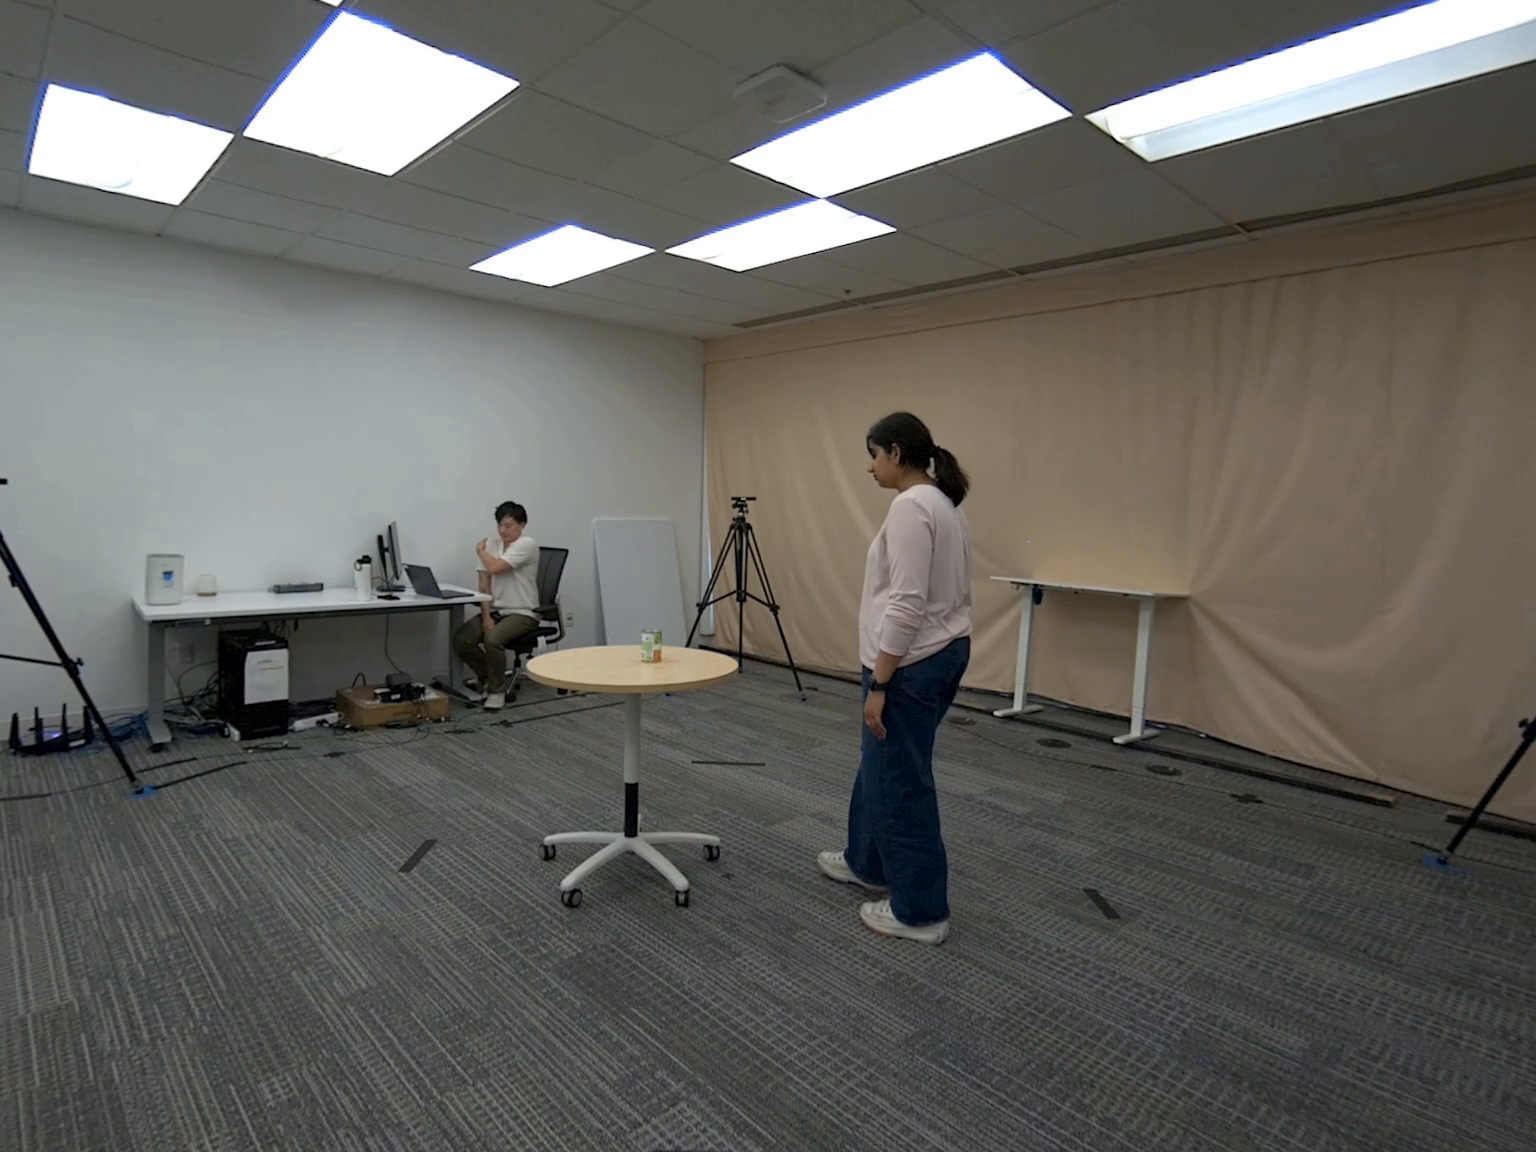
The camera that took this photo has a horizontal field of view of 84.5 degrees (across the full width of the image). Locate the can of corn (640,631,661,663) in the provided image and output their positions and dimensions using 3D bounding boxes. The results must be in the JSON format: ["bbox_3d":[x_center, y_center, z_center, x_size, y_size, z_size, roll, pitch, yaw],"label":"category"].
[{"bbox_3d":[-0.441,0.261,3.110,0.074,0.111,0.074,1,1,-1],"label":"can of corn"}]
